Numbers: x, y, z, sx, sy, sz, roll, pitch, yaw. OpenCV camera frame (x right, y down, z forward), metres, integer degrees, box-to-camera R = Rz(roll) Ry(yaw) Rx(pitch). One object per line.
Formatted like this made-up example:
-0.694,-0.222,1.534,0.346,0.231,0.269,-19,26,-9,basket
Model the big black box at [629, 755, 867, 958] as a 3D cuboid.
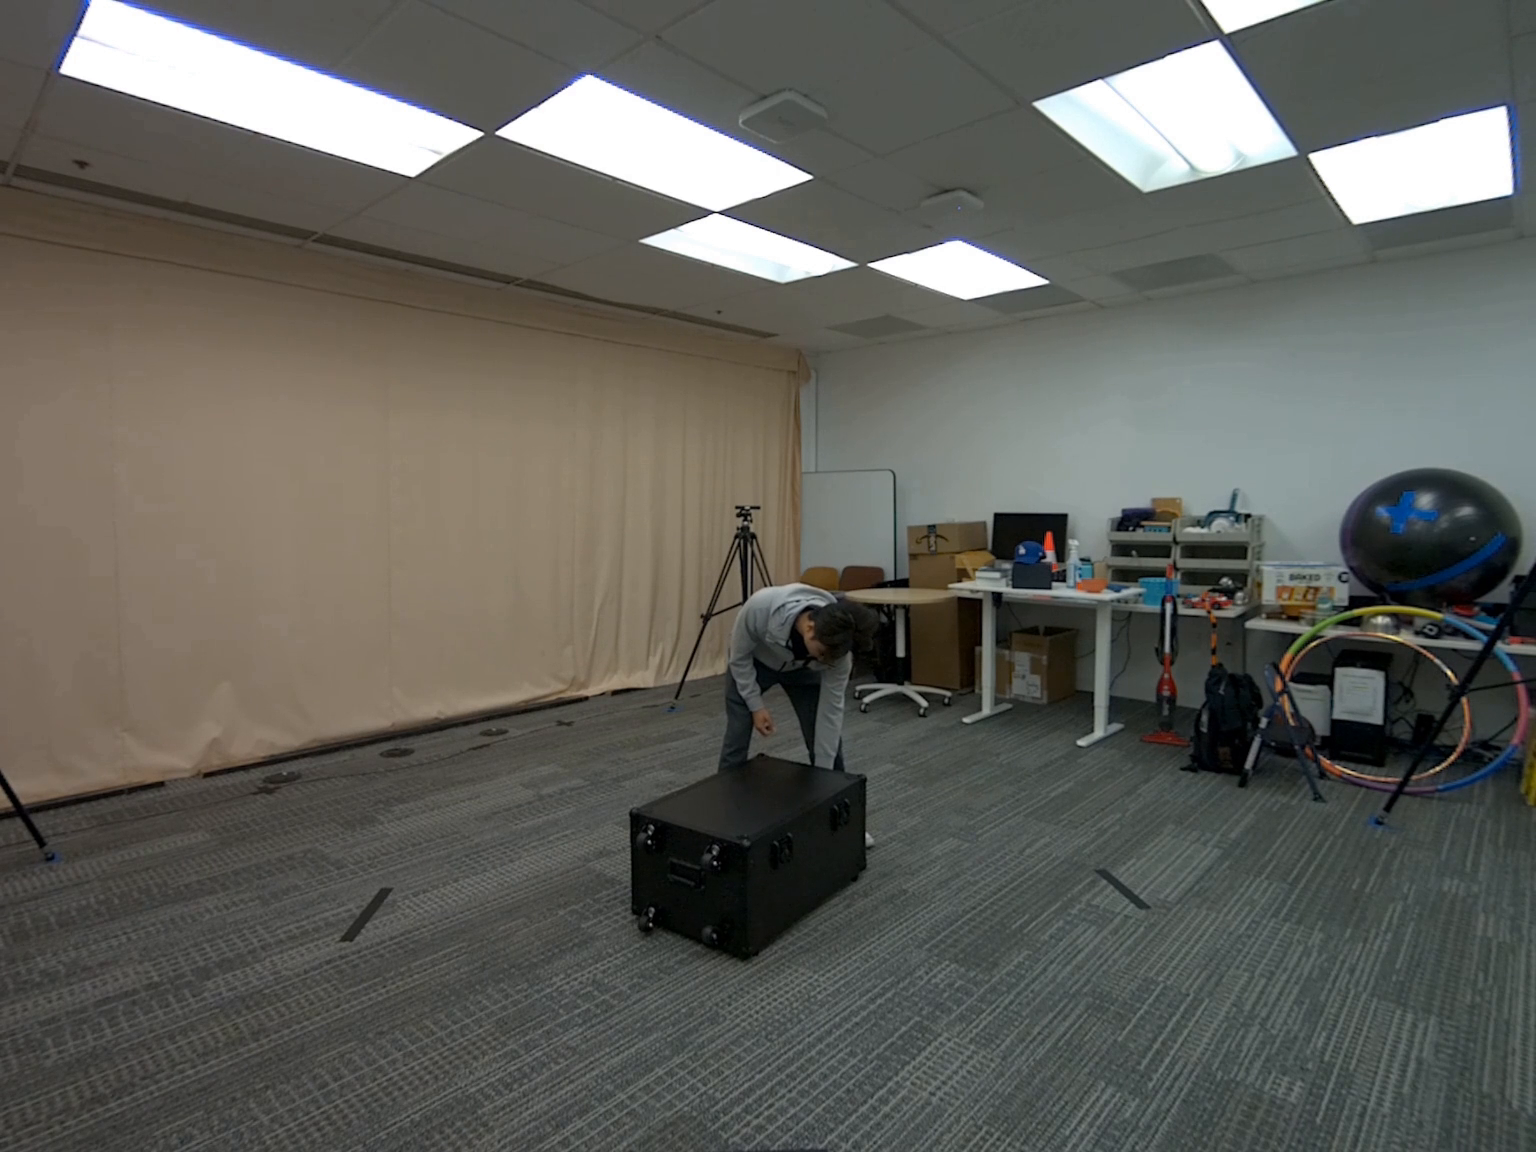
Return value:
-0.065,0.956,2.968,0.538,0.395,0.836,3,5,35,big black box
